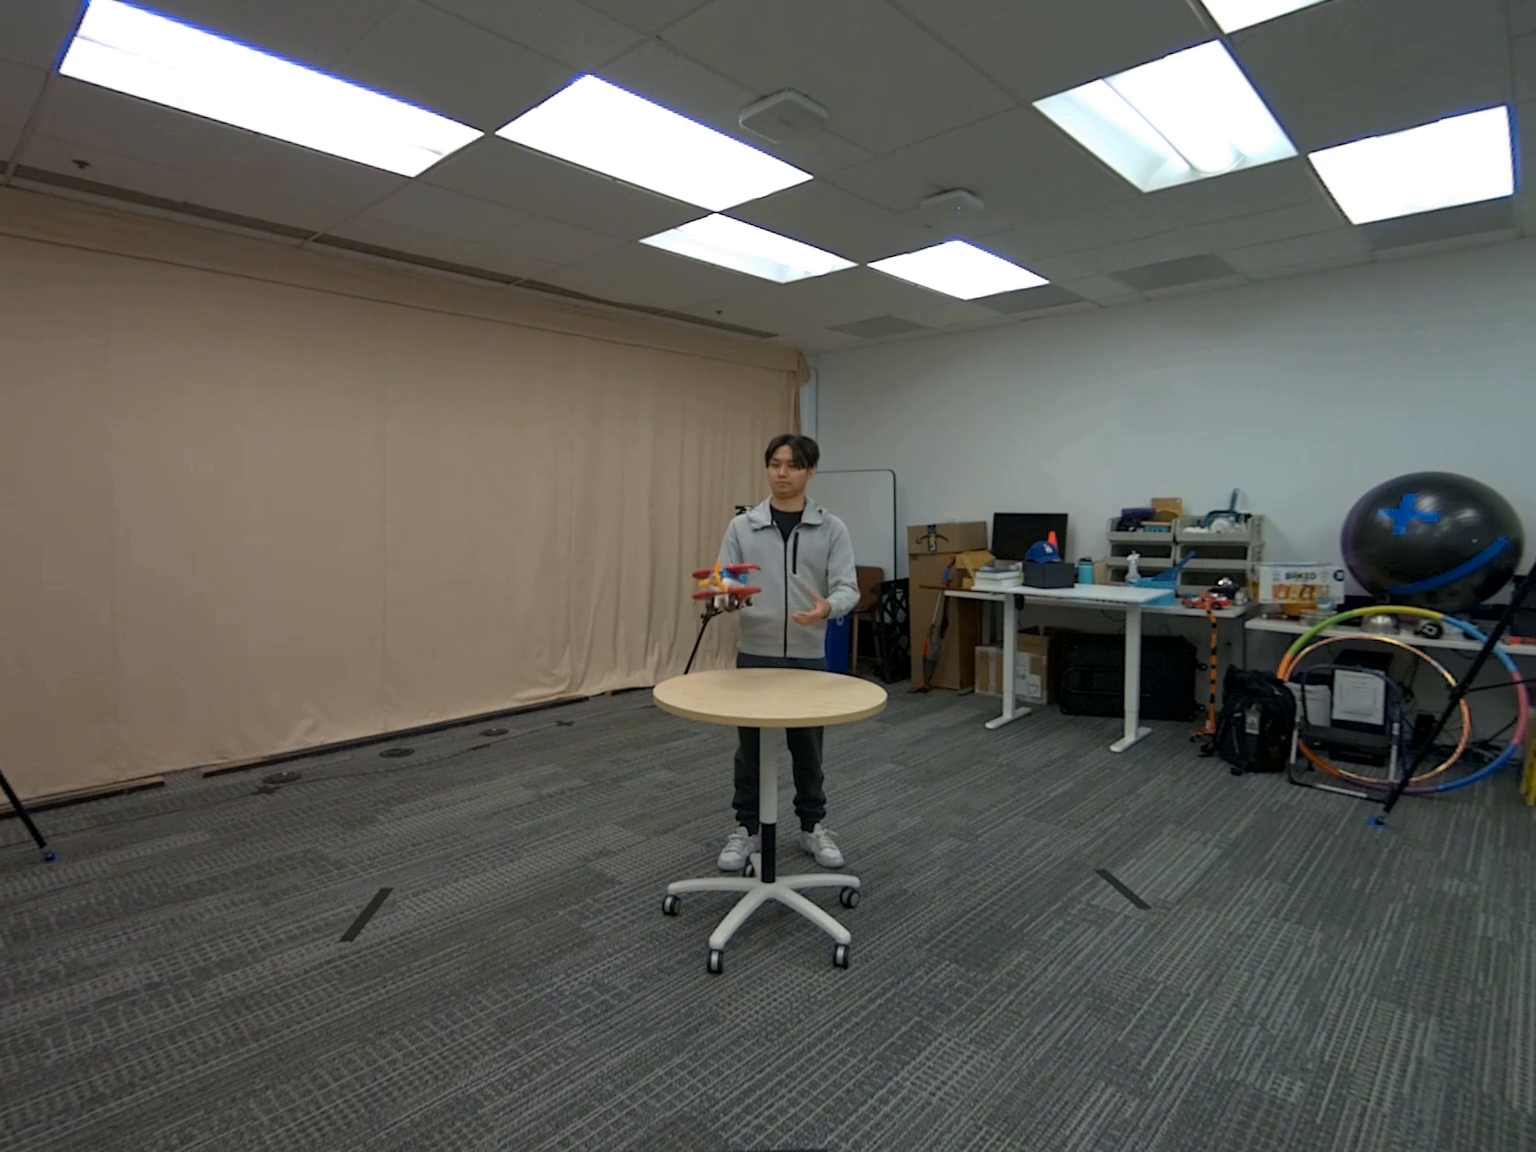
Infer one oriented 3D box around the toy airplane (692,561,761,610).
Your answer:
[{"bbox_3d":[-0.143,0.027,2.985,0.250,0.156,0.260,-9,-1,-5],"label":"toy airplane"}]
